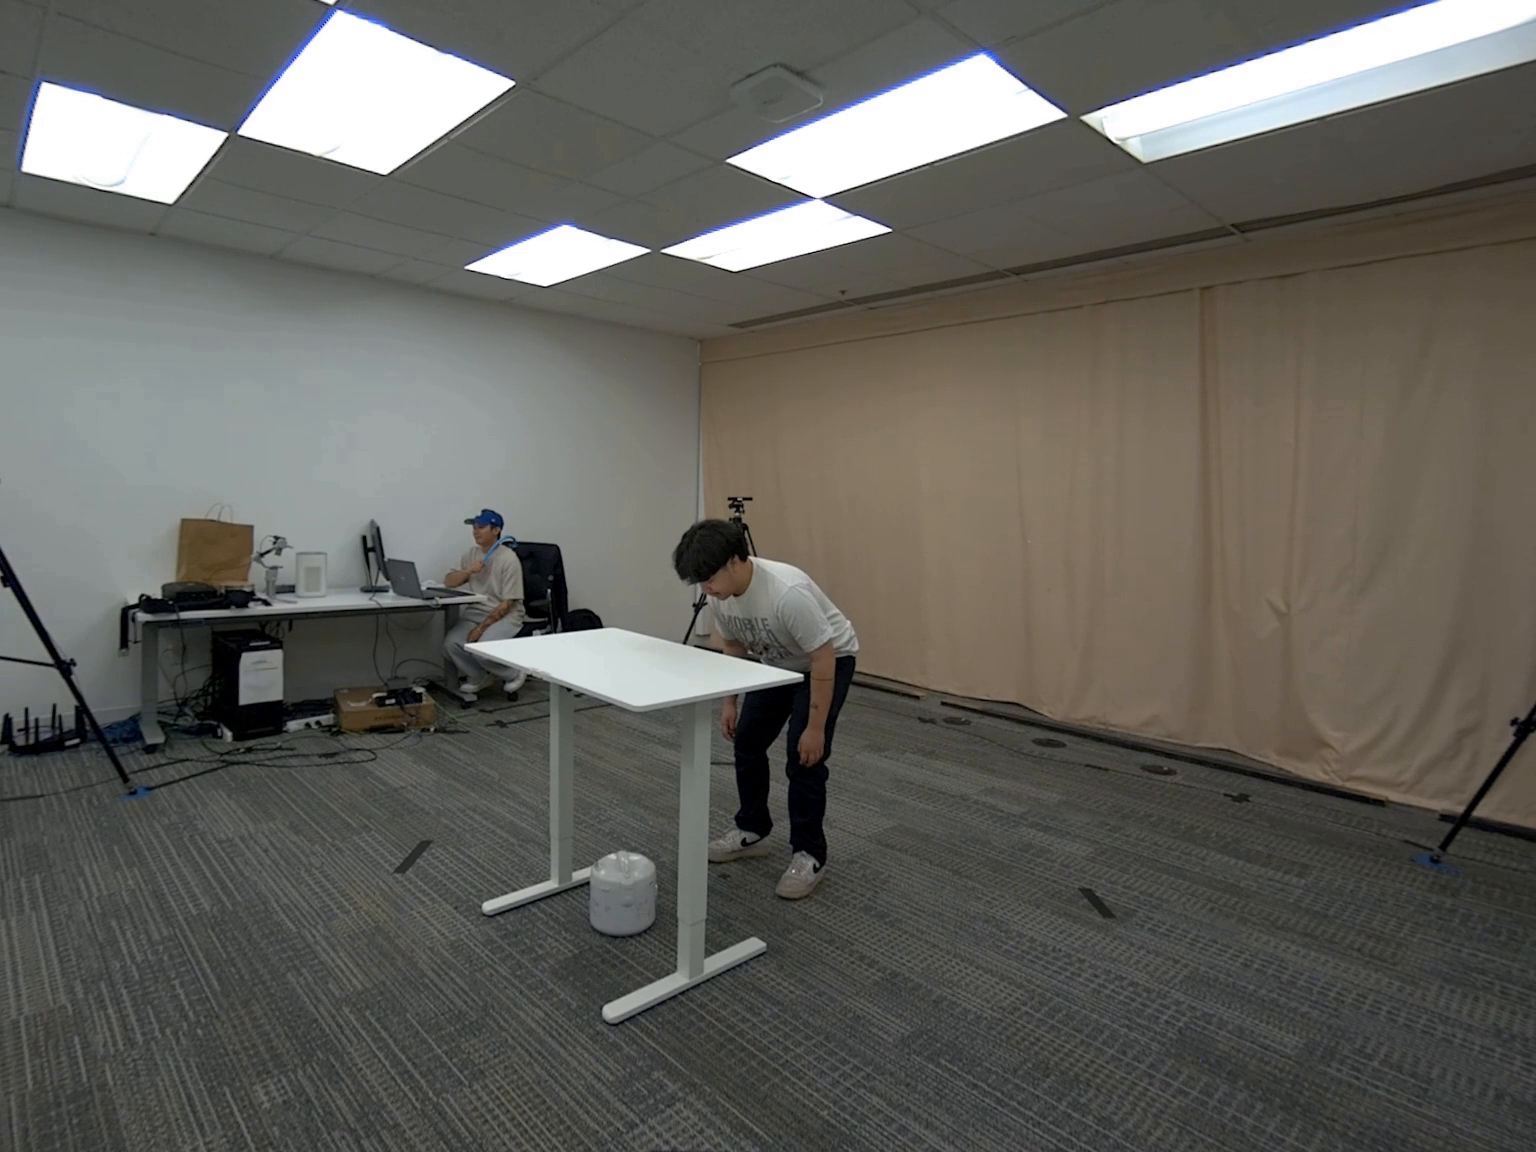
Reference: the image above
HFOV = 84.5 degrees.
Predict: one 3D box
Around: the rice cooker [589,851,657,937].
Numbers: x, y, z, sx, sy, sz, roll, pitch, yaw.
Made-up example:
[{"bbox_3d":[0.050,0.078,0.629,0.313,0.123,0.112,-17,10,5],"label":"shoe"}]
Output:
[{"bbox_3d":[-0.472,1.019,2.729,0.215,0.232,0.224,0,4,-15],"label":"rice cooker"}]
